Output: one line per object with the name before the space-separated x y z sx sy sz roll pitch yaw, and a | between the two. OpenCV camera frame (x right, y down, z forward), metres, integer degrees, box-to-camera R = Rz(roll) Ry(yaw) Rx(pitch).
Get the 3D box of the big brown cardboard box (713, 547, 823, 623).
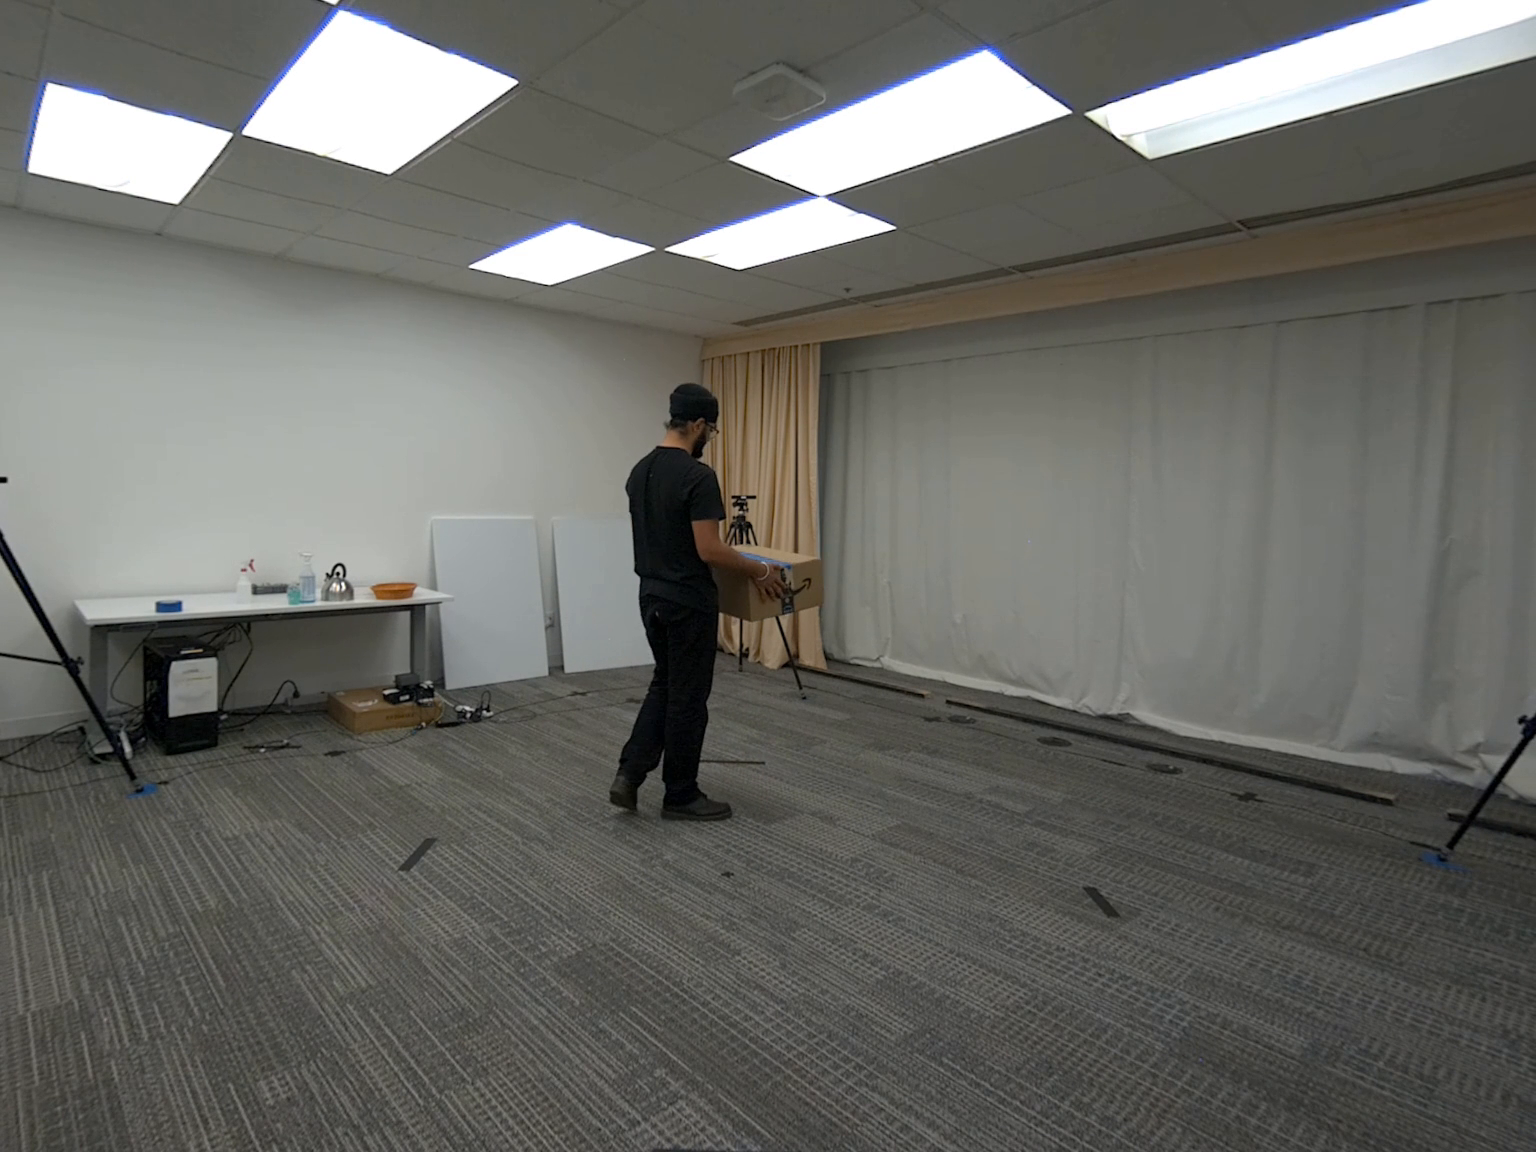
big brown cardboard box | -0.099 0.017 3.906 0.410 0.231 0.605 -12 15 -35
